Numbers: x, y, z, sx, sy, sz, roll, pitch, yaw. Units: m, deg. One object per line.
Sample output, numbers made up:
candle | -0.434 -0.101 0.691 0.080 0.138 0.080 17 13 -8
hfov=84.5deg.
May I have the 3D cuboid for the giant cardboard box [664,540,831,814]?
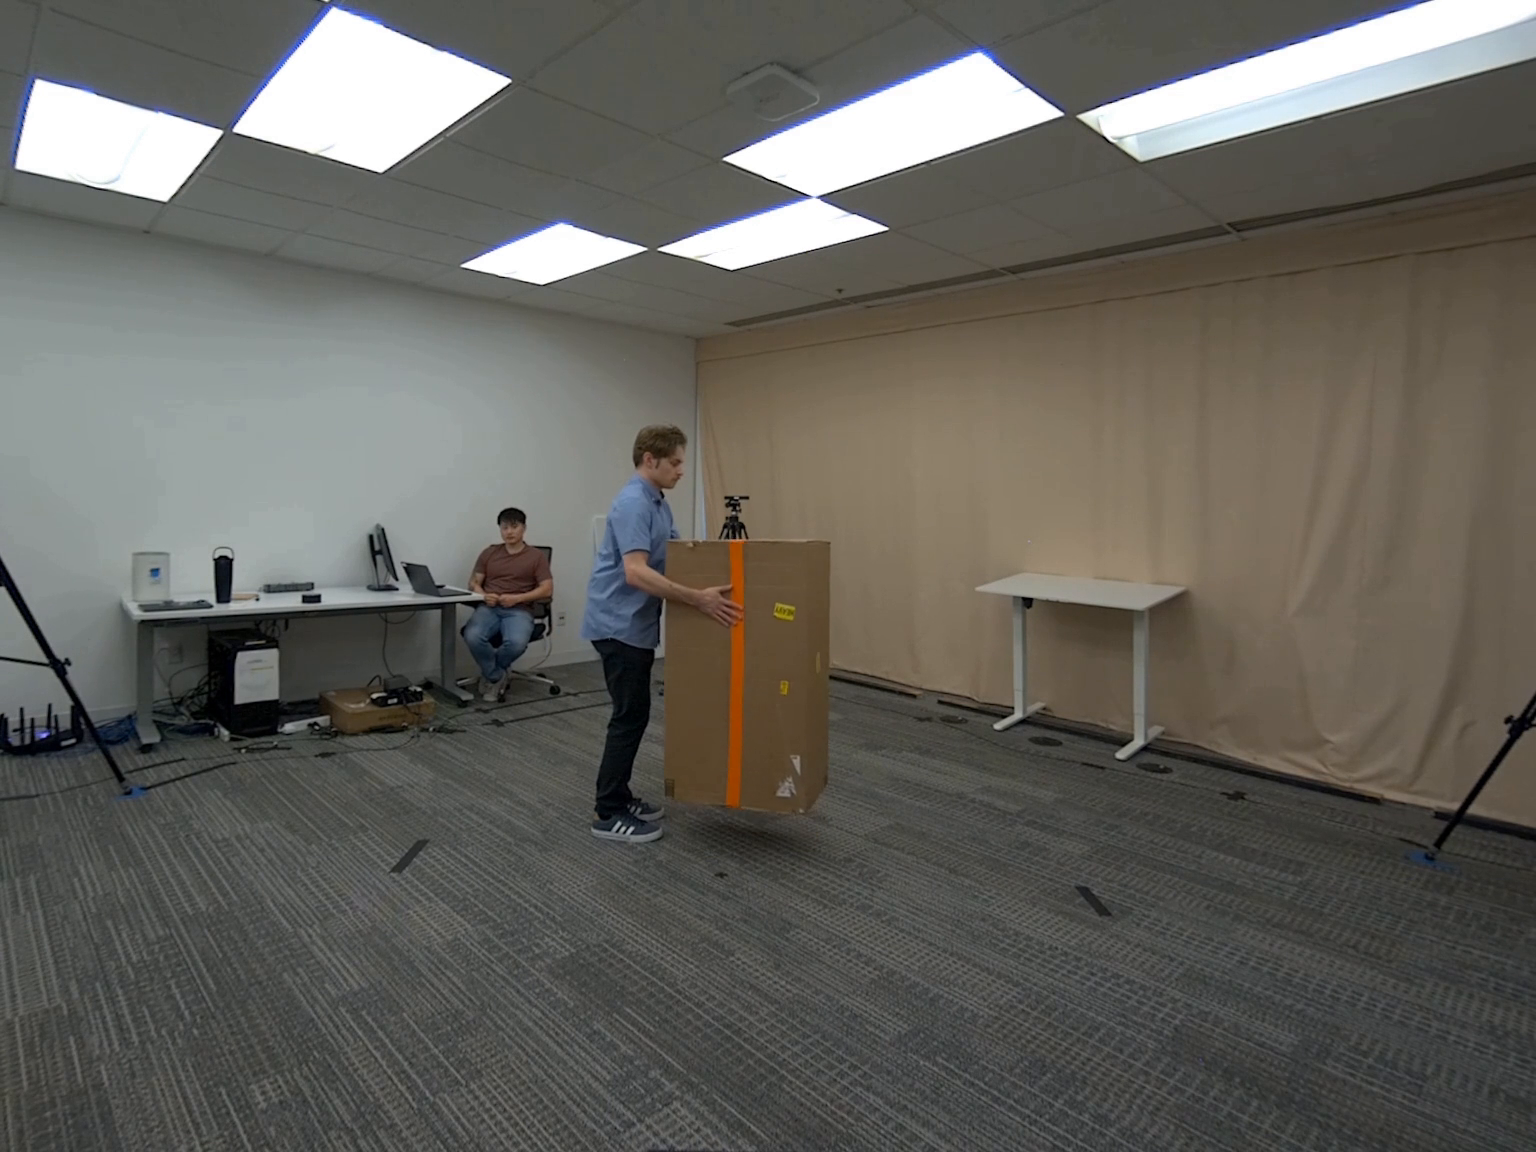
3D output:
giant cardboard box | -0.082 0.367 3.407 0.593 1.026 0.440 1 1 19
